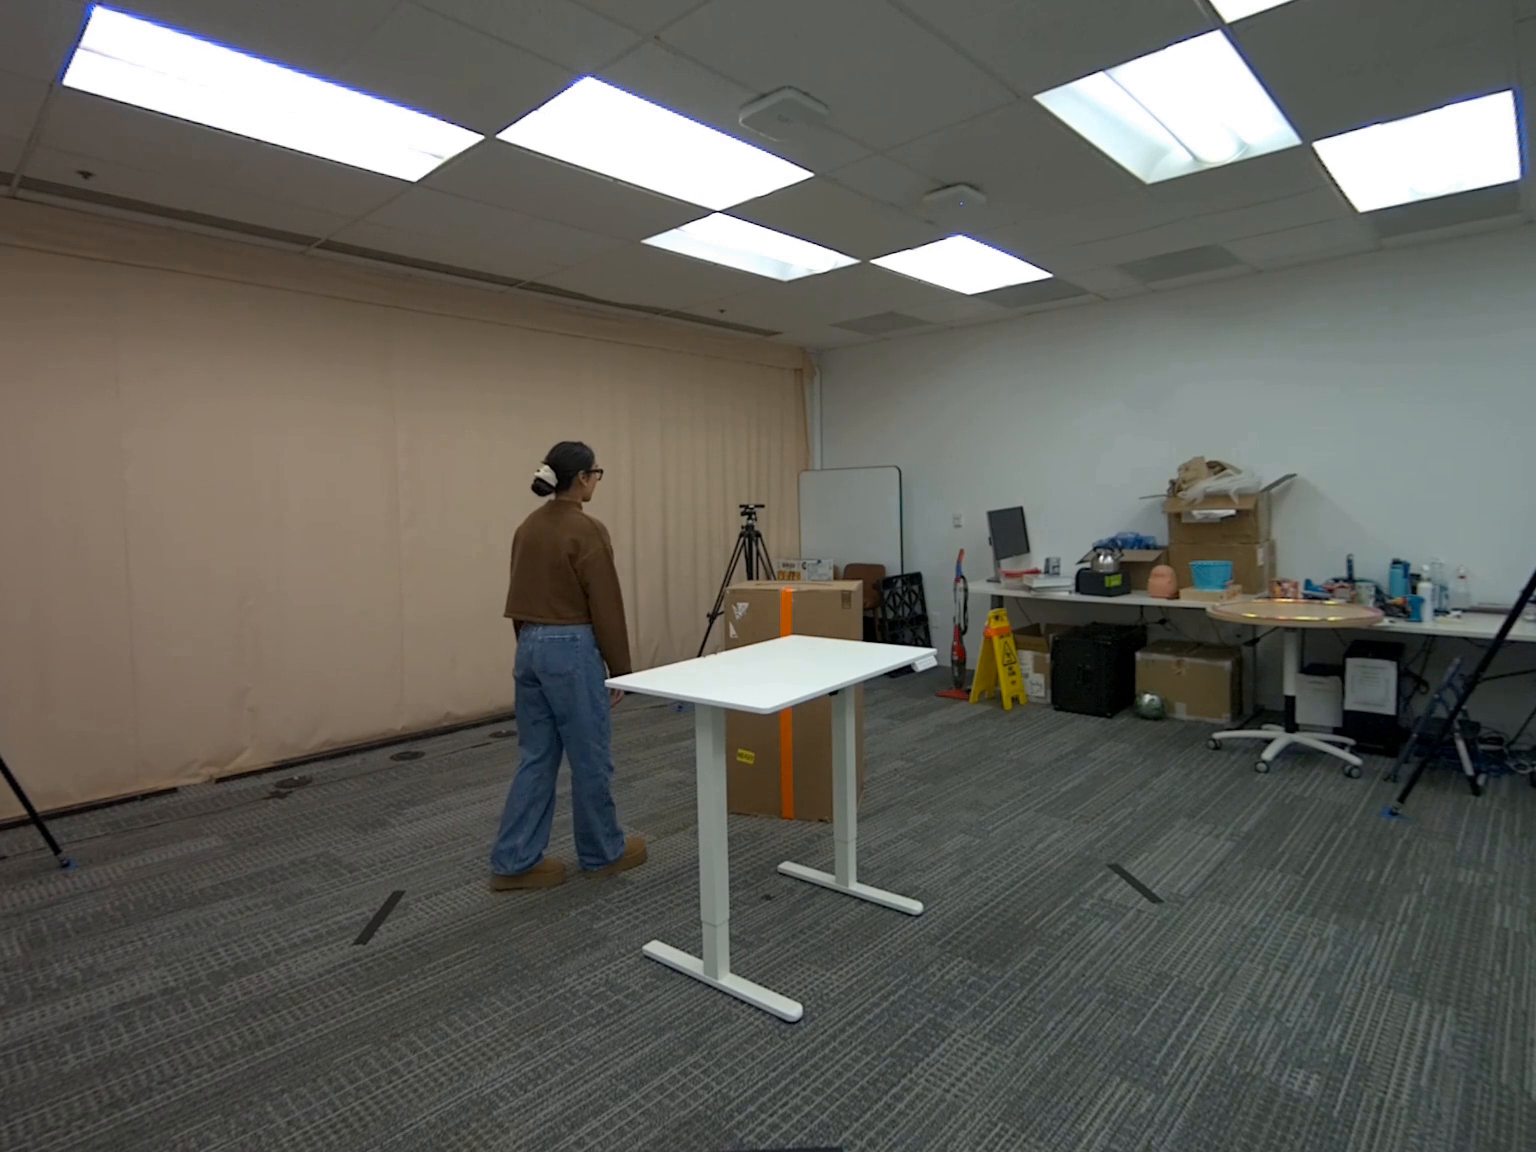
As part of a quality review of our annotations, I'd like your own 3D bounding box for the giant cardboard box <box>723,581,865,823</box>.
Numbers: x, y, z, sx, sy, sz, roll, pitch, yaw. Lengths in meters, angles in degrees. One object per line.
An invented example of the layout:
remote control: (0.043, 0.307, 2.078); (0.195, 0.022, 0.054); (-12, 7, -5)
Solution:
giant cardboard box: (0.134, 0.550, 3.912); (0.587, 1.024, 0.420); (0, 3, 15)
